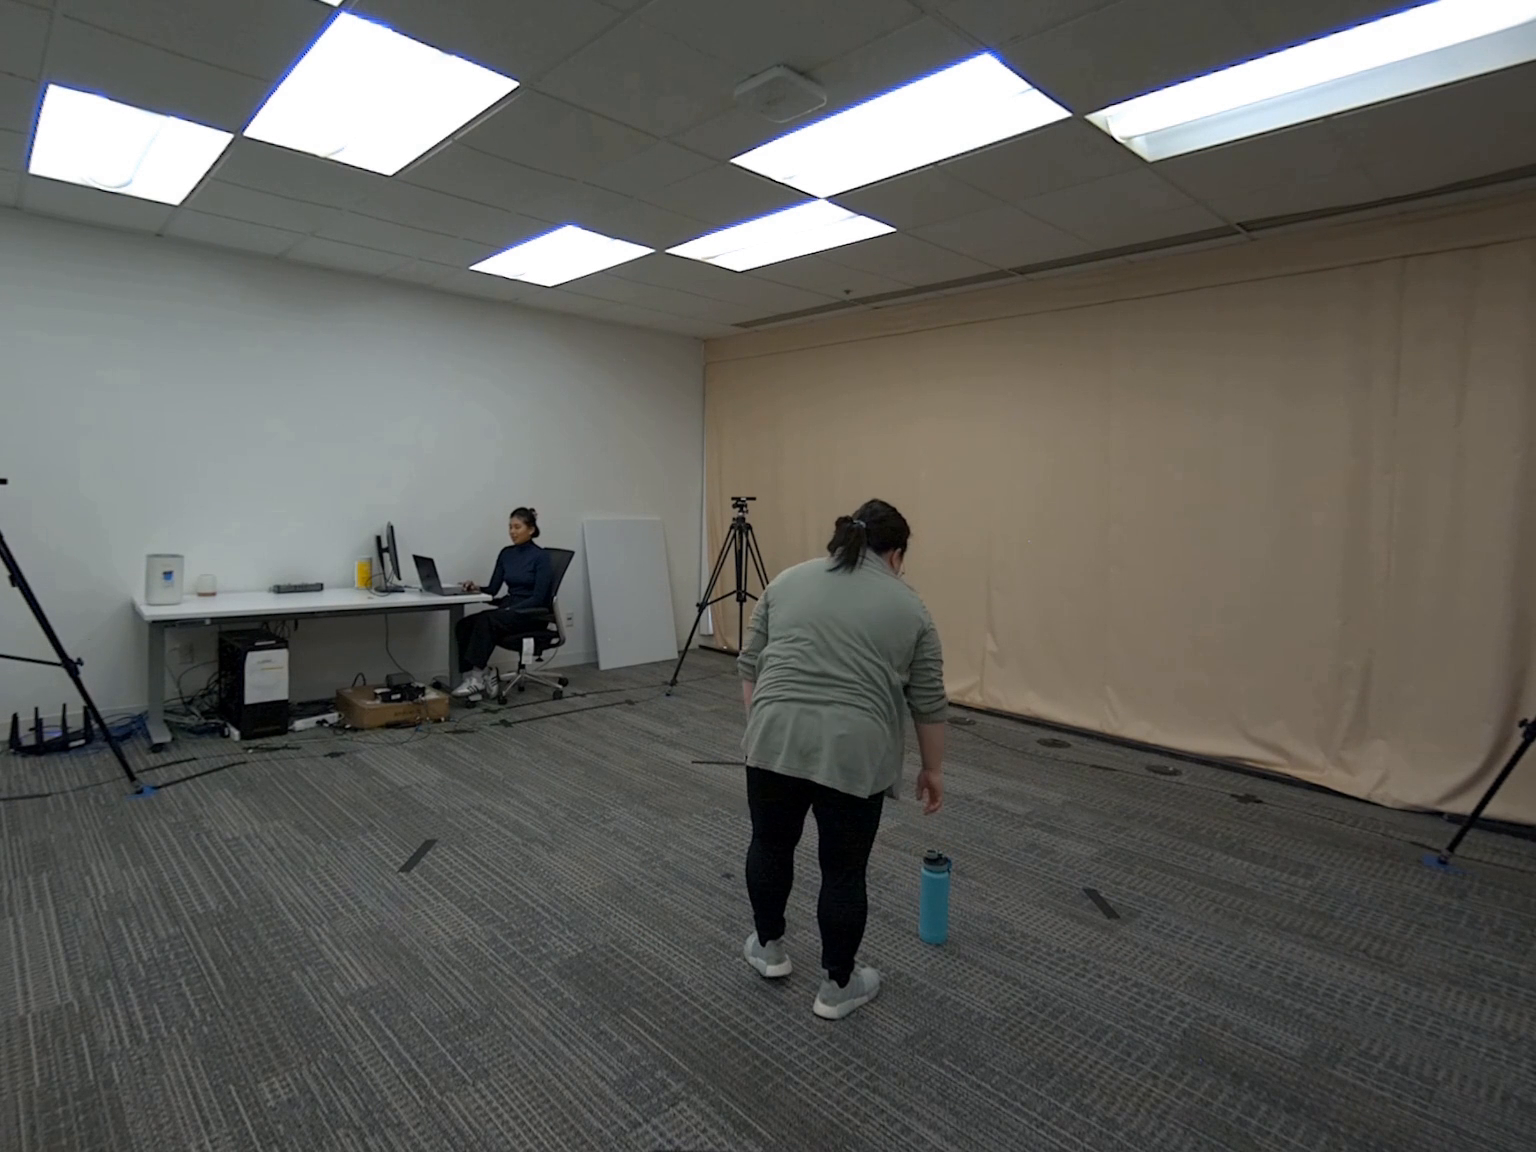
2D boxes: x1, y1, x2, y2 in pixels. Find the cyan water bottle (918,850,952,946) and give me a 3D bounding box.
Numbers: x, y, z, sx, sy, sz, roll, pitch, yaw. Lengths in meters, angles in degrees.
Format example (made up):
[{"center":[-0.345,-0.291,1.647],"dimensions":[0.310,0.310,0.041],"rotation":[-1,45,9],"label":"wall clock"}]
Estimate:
[{"center":[0.530,1.022,2.689],"dimensions":[0.092,0.283,0.092],"rotation":[3,3,-2],"label":"cyan water bottle"}]
